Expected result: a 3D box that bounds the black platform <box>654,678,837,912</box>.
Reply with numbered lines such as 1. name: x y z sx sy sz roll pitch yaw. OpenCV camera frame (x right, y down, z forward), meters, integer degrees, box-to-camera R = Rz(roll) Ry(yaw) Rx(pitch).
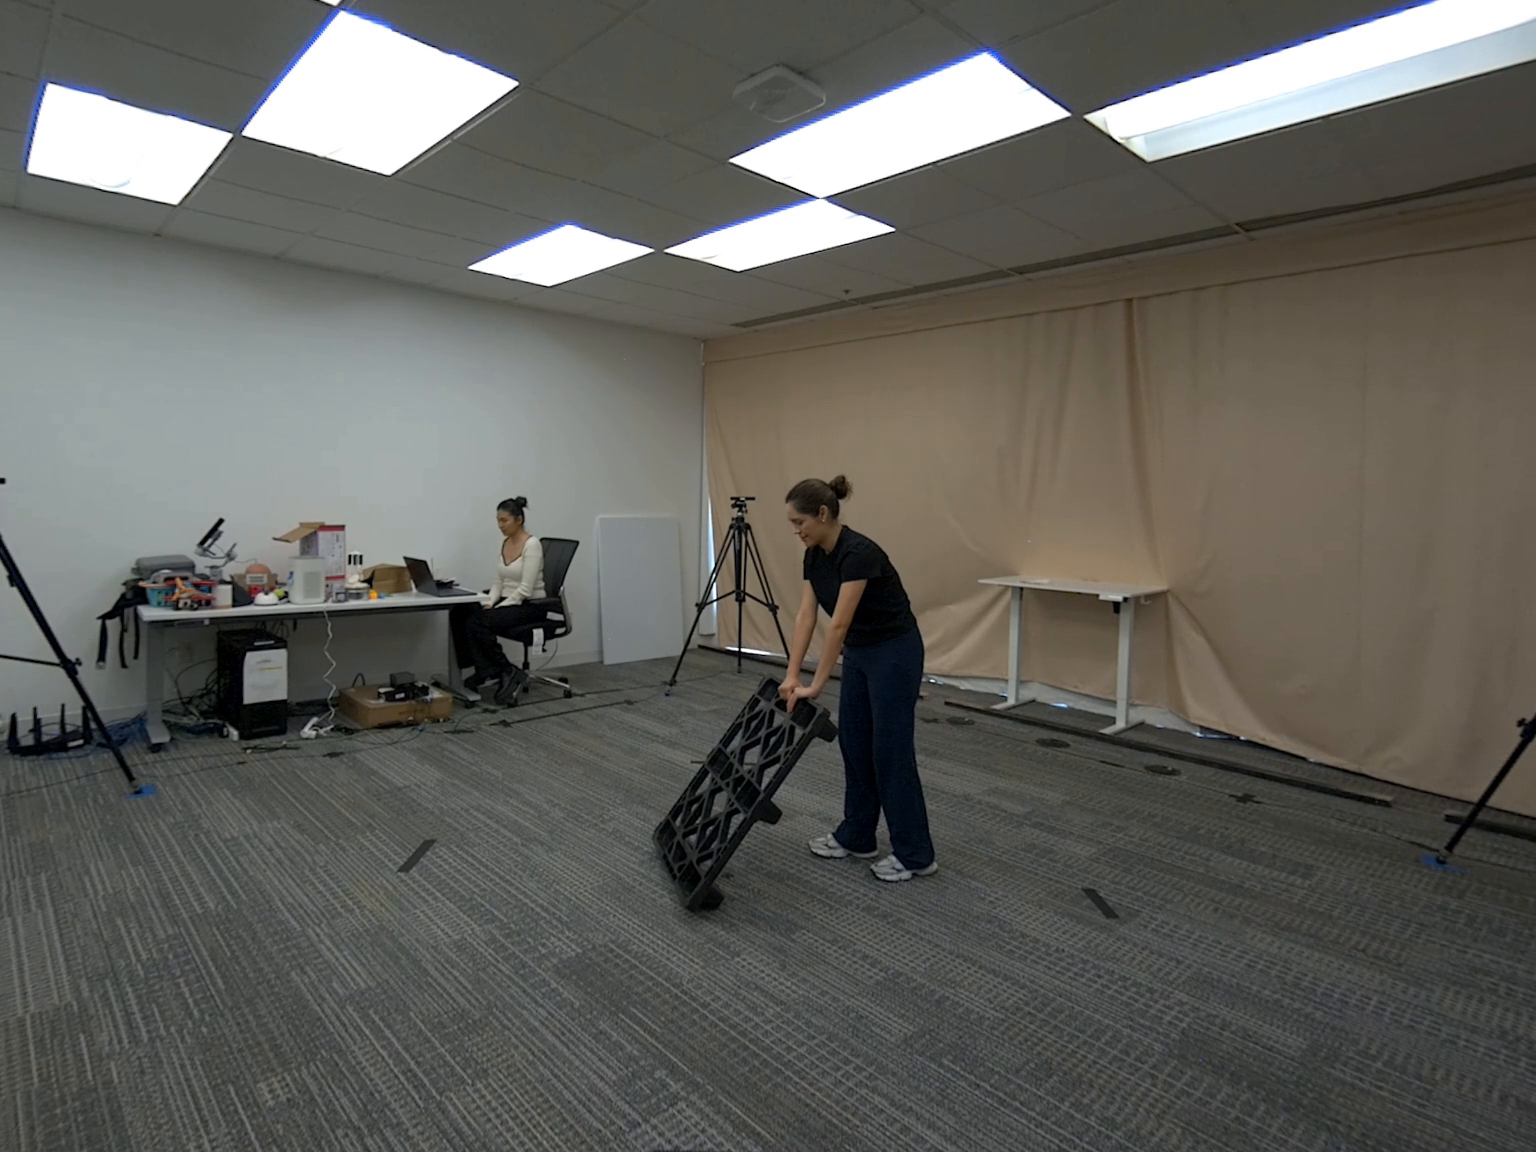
1. black platform: -0.091 0.780 3.079 0.141 0.806 0.615 38 -7 -17
